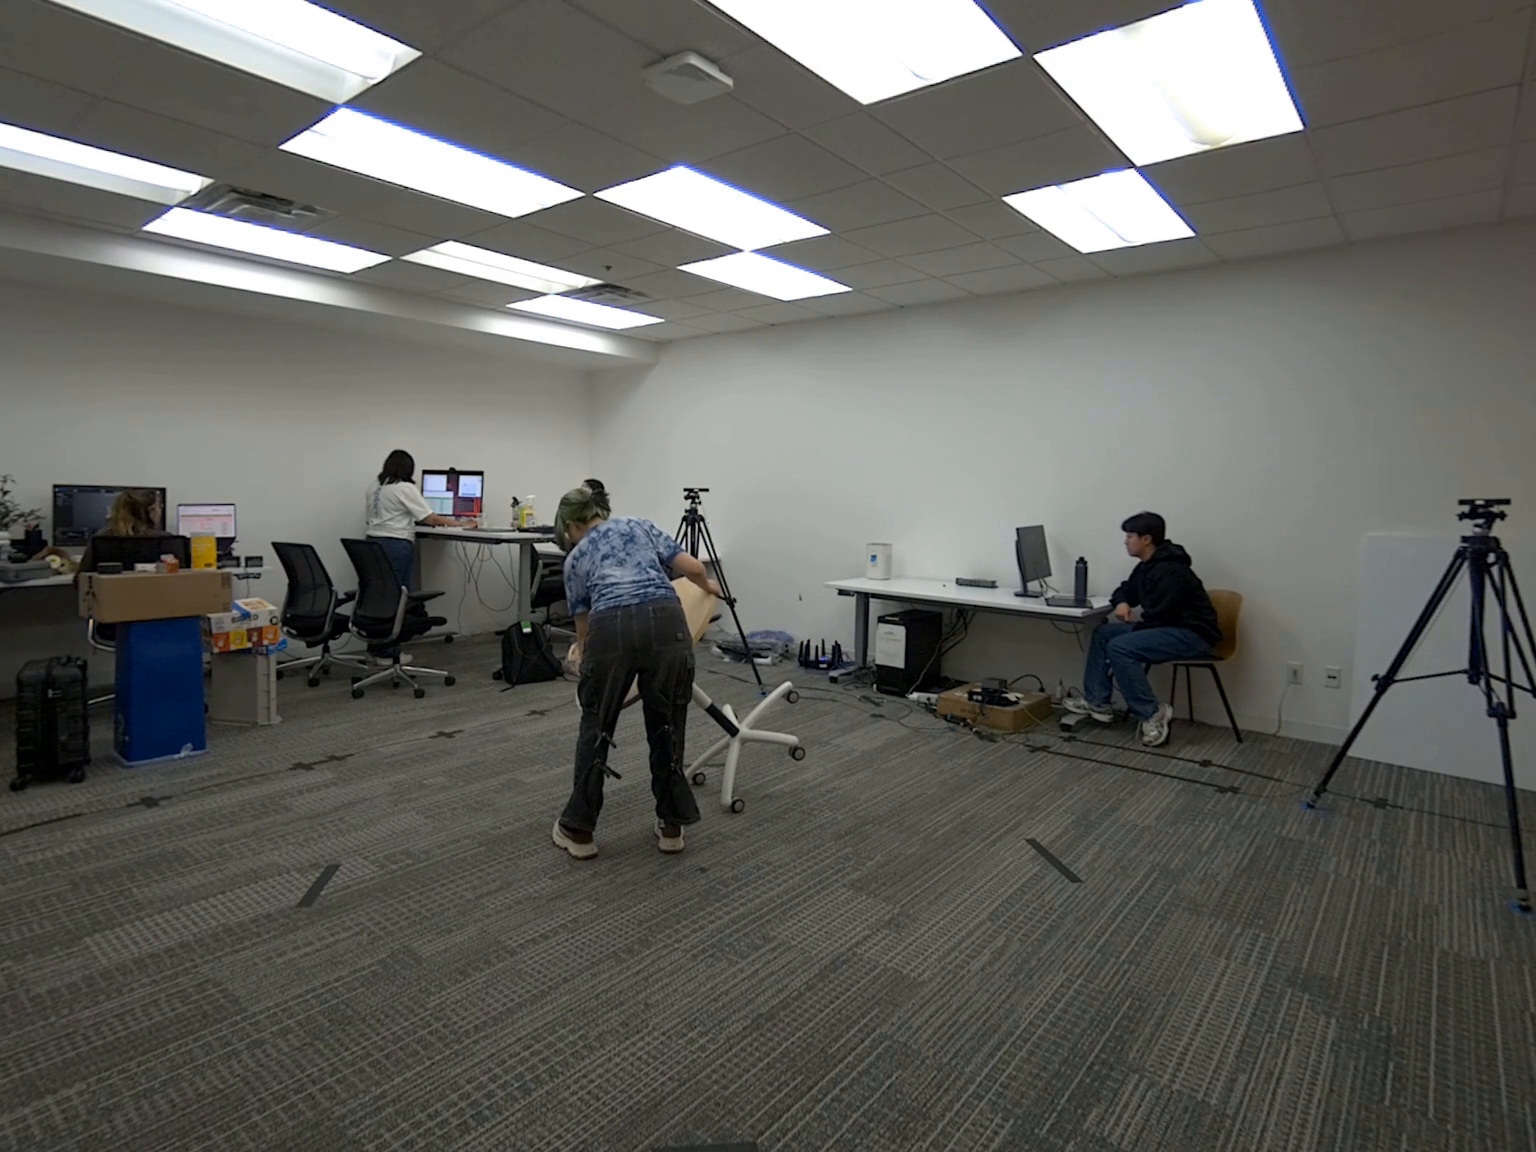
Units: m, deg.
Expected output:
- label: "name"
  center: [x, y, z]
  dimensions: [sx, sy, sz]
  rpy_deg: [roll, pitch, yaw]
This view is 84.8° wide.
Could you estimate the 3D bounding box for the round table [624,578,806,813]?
- label: "round table"
  center: [-0.314, 0.542, 3.797]
  dimensions: [0.767, 0.771, 0.783]
  rpy_deg: [-35, 23, 15]
